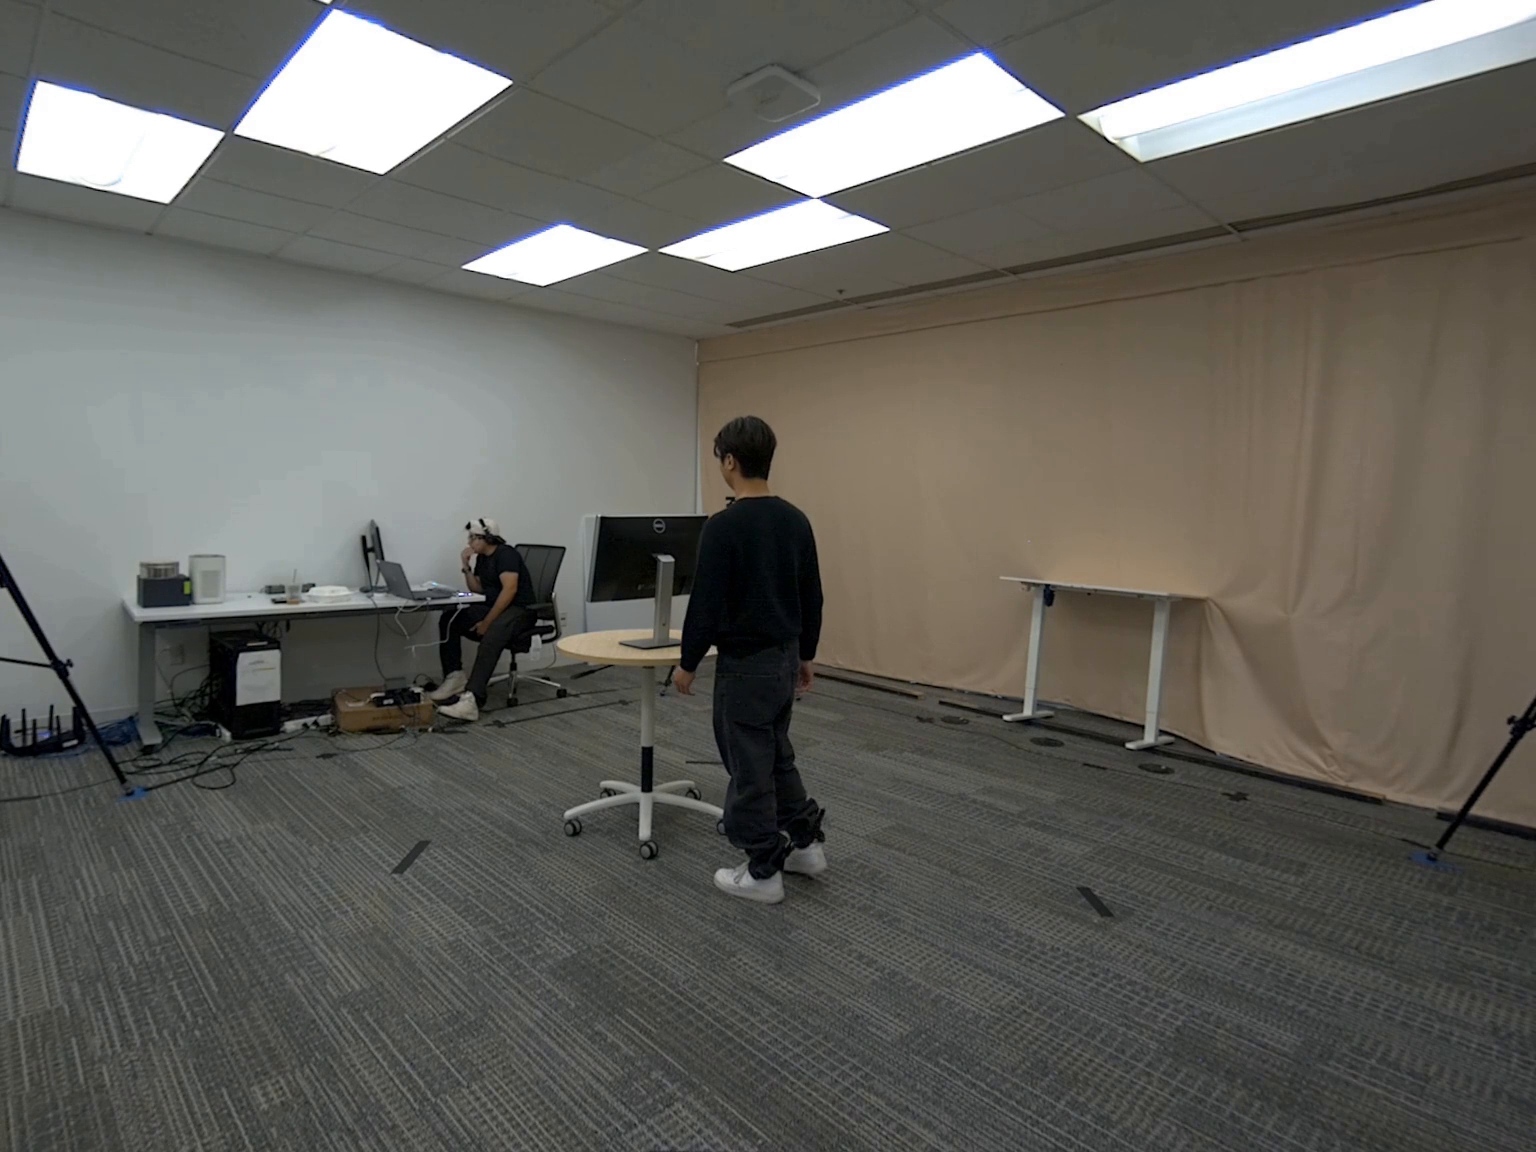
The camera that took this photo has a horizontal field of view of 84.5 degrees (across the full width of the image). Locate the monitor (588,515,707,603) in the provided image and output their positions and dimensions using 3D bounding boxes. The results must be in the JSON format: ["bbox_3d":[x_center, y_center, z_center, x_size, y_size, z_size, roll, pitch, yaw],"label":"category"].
[{"bbox_3d":[-0.480,0.016,3.504,0.518,0.515,0.178,-5,2,-42],"label":"monitor"}]
